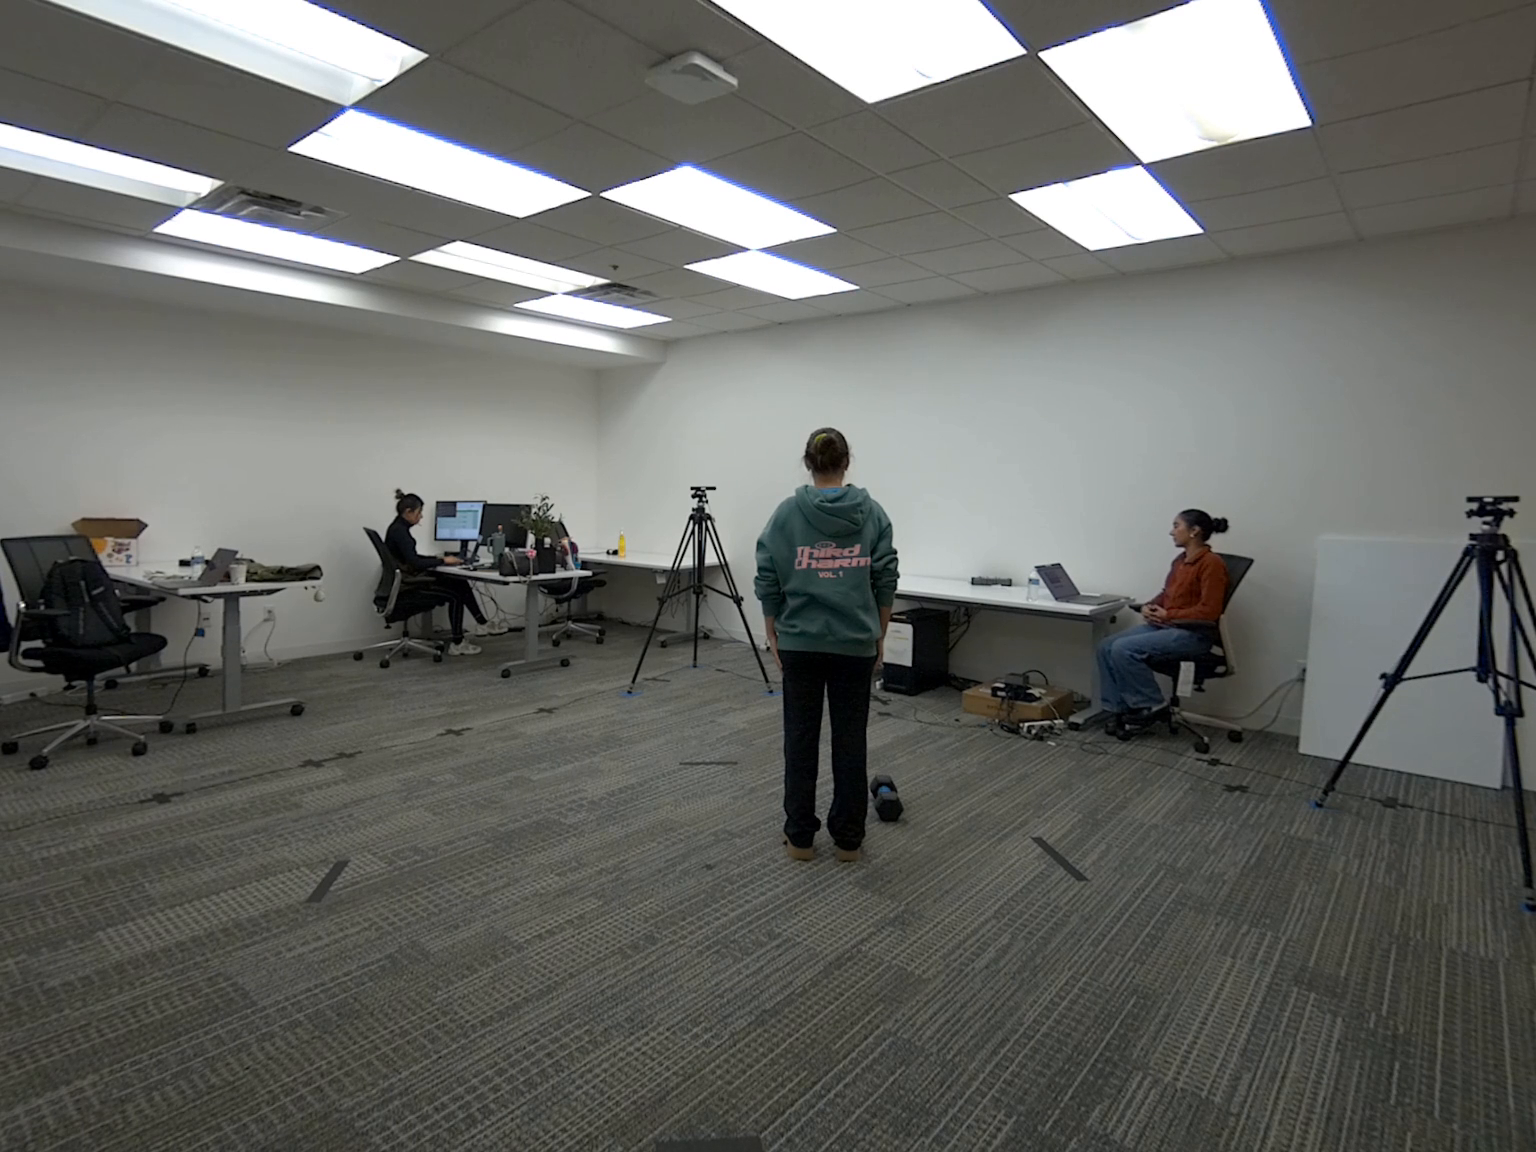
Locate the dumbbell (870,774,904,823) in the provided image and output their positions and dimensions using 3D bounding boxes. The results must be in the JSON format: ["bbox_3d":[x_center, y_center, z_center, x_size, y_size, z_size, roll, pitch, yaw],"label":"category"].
[{"bbox_3d":[0.510,0.963,3.723,0.109,0.123,0.293,29,5,-1],"label":"dumbbell"}]
